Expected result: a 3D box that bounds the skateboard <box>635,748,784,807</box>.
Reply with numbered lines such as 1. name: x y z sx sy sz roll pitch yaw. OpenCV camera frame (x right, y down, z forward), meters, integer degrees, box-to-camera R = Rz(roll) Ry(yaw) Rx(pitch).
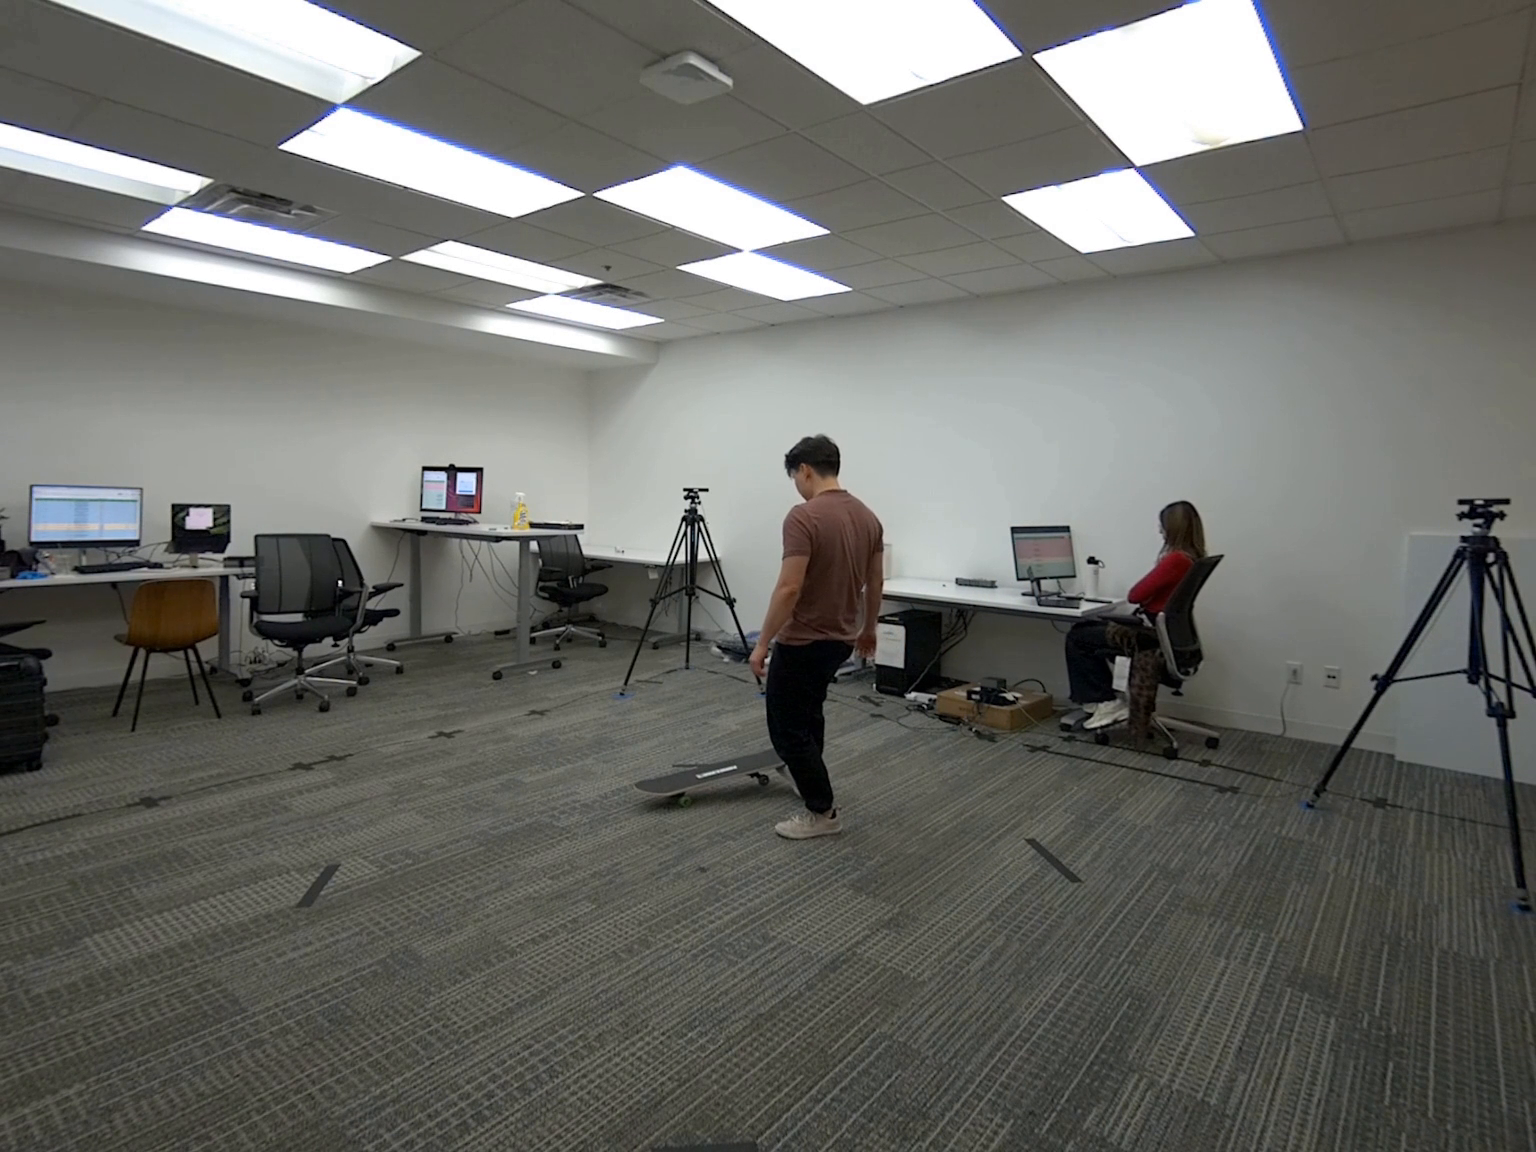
1. skateboard: -0.240 0.920 3.869 0.768 0.109 0.199 -8 10 -26
